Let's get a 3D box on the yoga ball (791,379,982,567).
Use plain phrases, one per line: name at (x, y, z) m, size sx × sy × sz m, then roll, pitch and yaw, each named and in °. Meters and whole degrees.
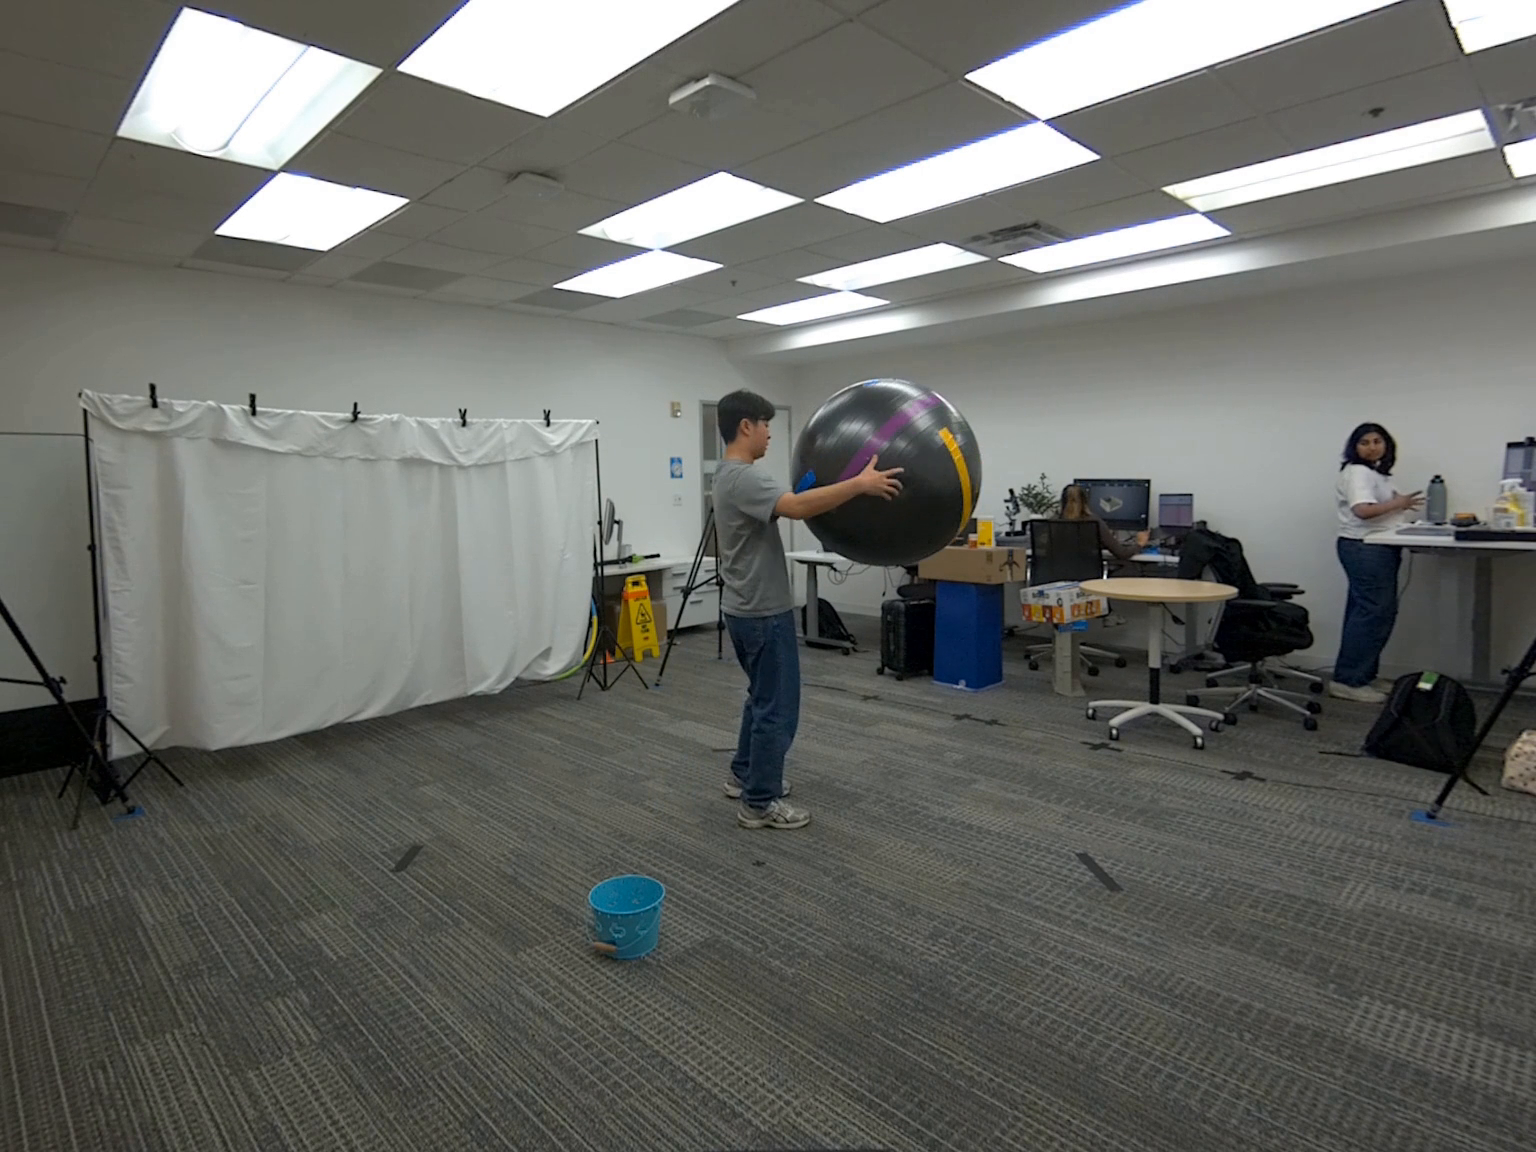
yoga ball at (0.472, -0.411, 3.484) m, size 0.757 × 0.755 × 0.762 m, roll -1°, pitch 5°, yaw -2°
